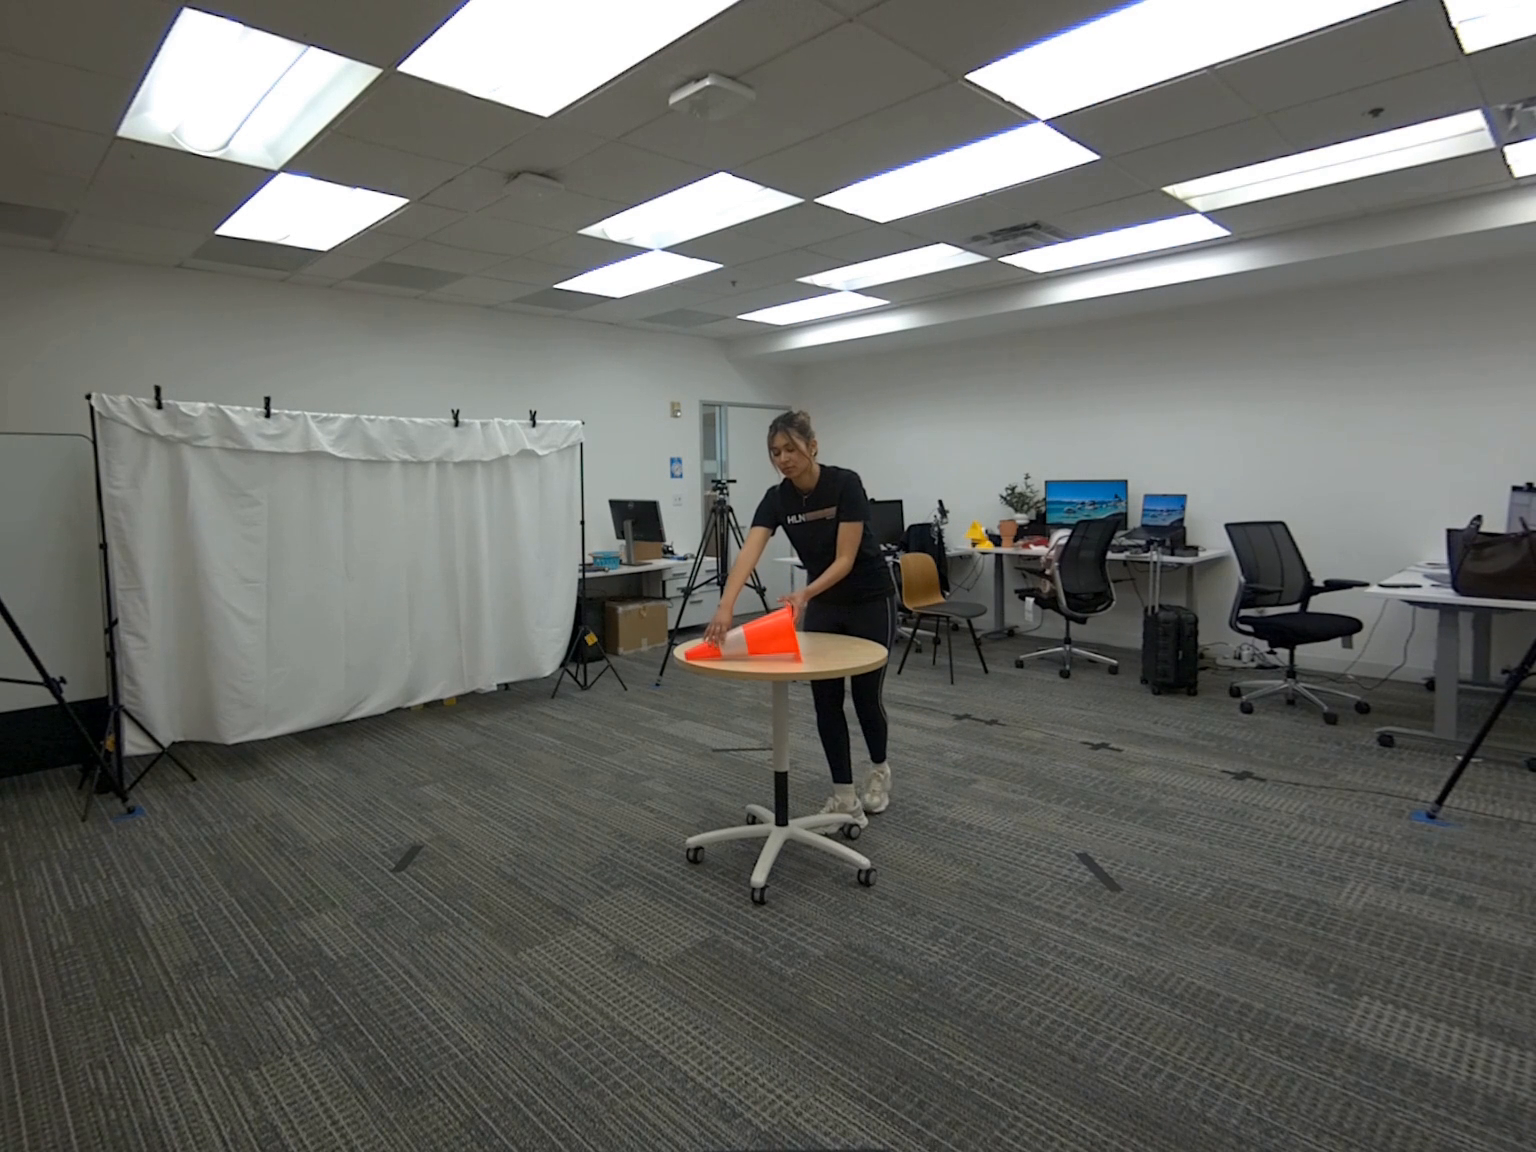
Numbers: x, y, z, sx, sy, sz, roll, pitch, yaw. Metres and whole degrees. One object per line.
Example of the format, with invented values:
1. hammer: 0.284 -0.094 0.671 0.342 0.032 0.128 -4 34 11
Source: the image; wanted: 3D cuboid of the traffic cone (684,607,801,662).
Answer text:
1. traffic cone: -0.092 0.222 2.922 0.384 0.203 0.205 -12 3 3
